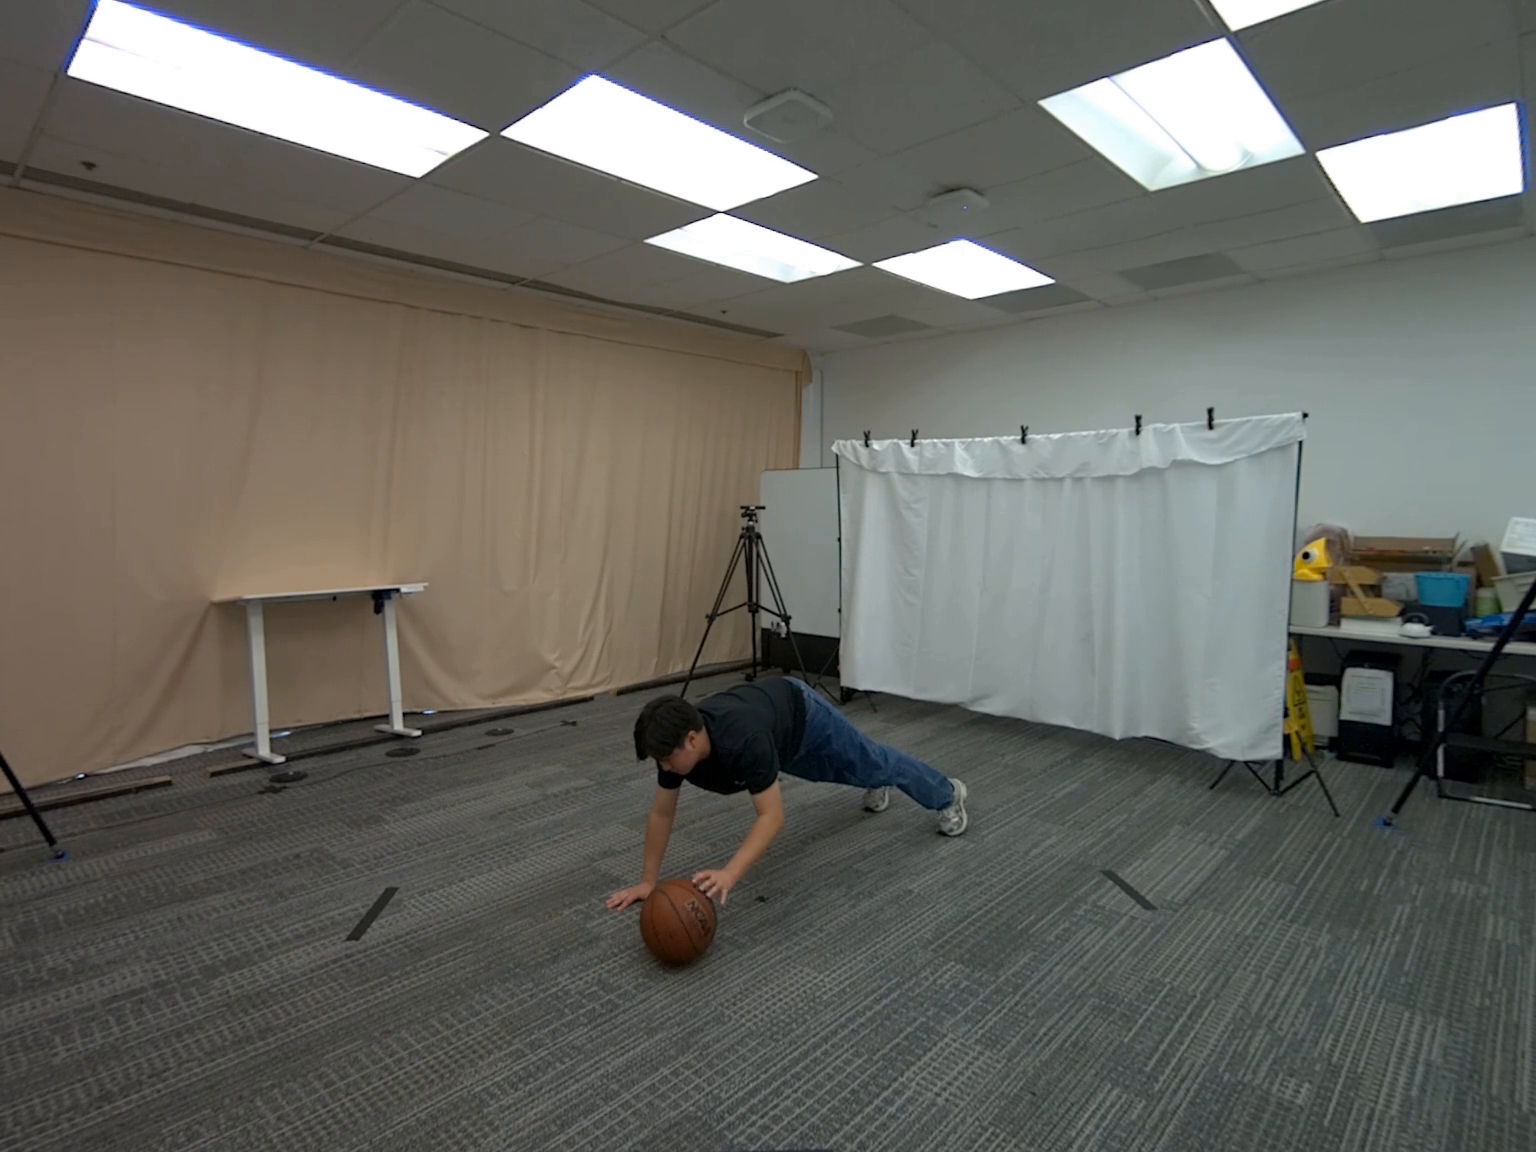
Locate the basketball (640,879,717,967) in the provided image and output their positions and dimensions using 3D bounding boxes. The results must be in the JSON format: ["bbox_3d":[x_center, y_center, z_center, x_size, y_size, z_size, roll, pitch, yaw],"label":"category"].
[{"bbox_3d":[-0.273,1.058,2.584,0.236,0.235,0.237,0,4,-2],"label":"basketball"}]
